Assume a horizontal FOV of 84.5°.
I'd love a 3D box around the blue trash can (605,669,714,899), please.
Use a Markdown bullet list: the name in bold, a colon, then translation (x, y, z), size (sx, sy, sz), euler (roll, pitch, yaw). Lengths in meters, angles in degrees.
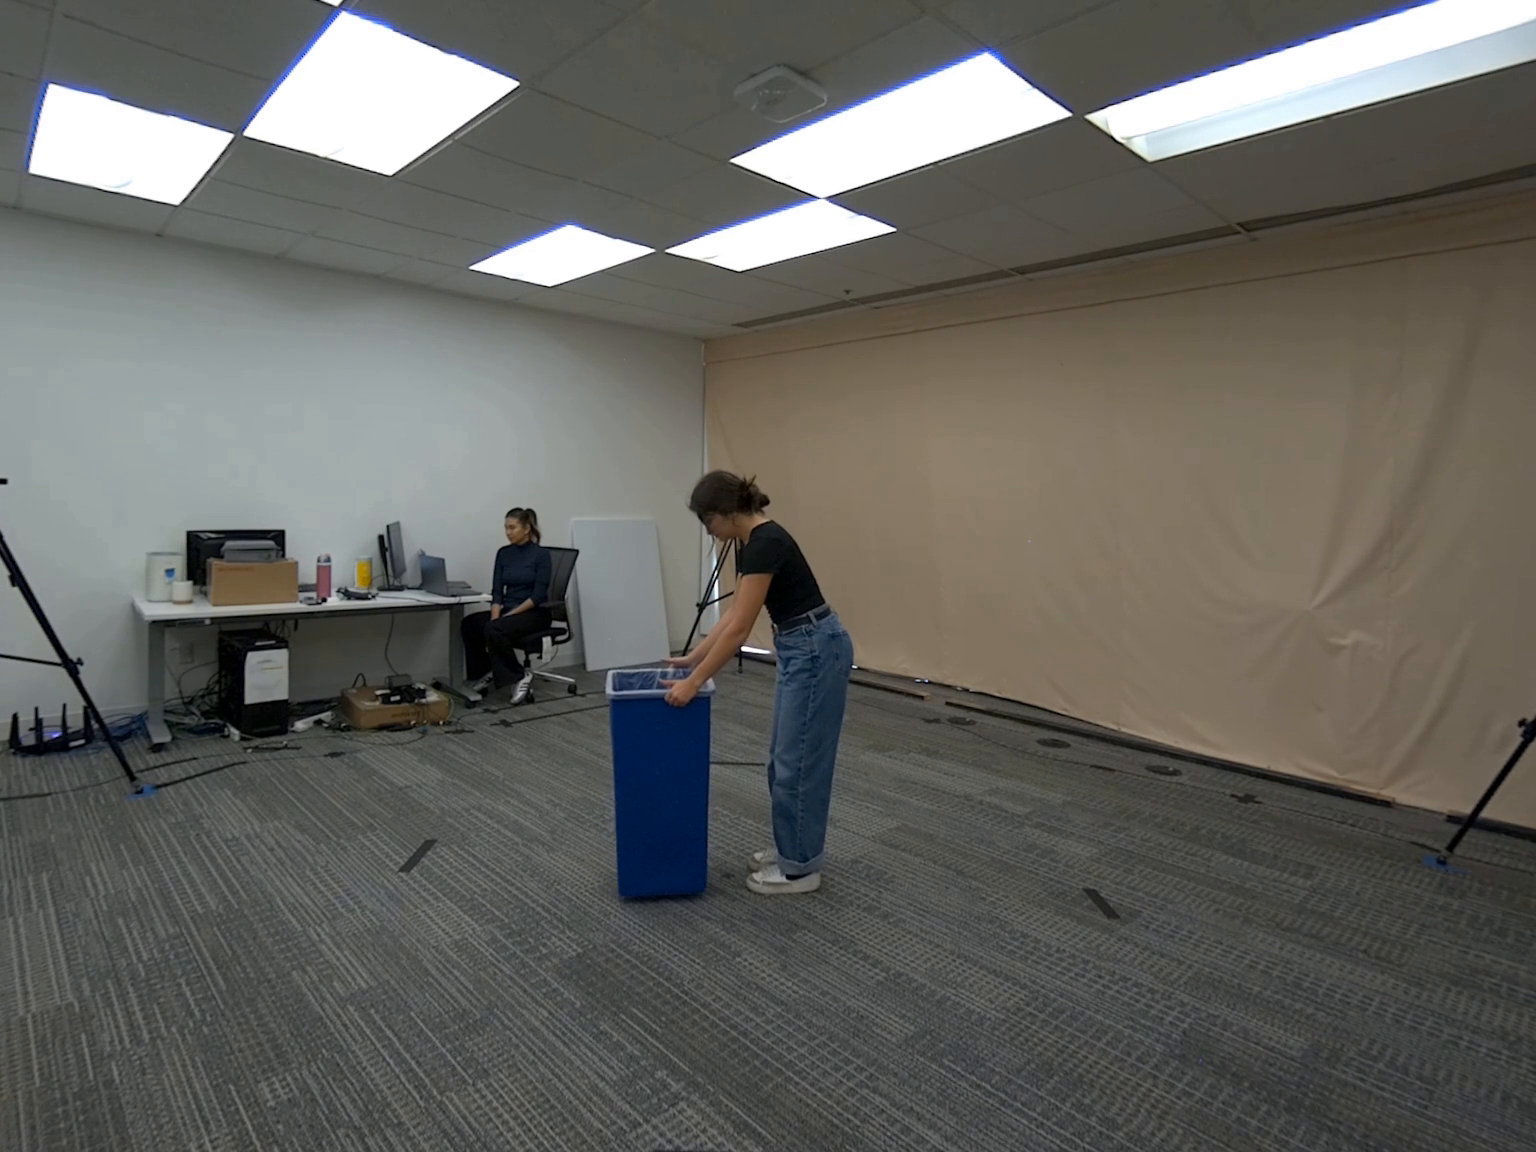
- **blue trash can**: translation (-0.384, 0.722, 3.002), size (0.375, 0.712, 0.377), euler (-1, 2, -9)
